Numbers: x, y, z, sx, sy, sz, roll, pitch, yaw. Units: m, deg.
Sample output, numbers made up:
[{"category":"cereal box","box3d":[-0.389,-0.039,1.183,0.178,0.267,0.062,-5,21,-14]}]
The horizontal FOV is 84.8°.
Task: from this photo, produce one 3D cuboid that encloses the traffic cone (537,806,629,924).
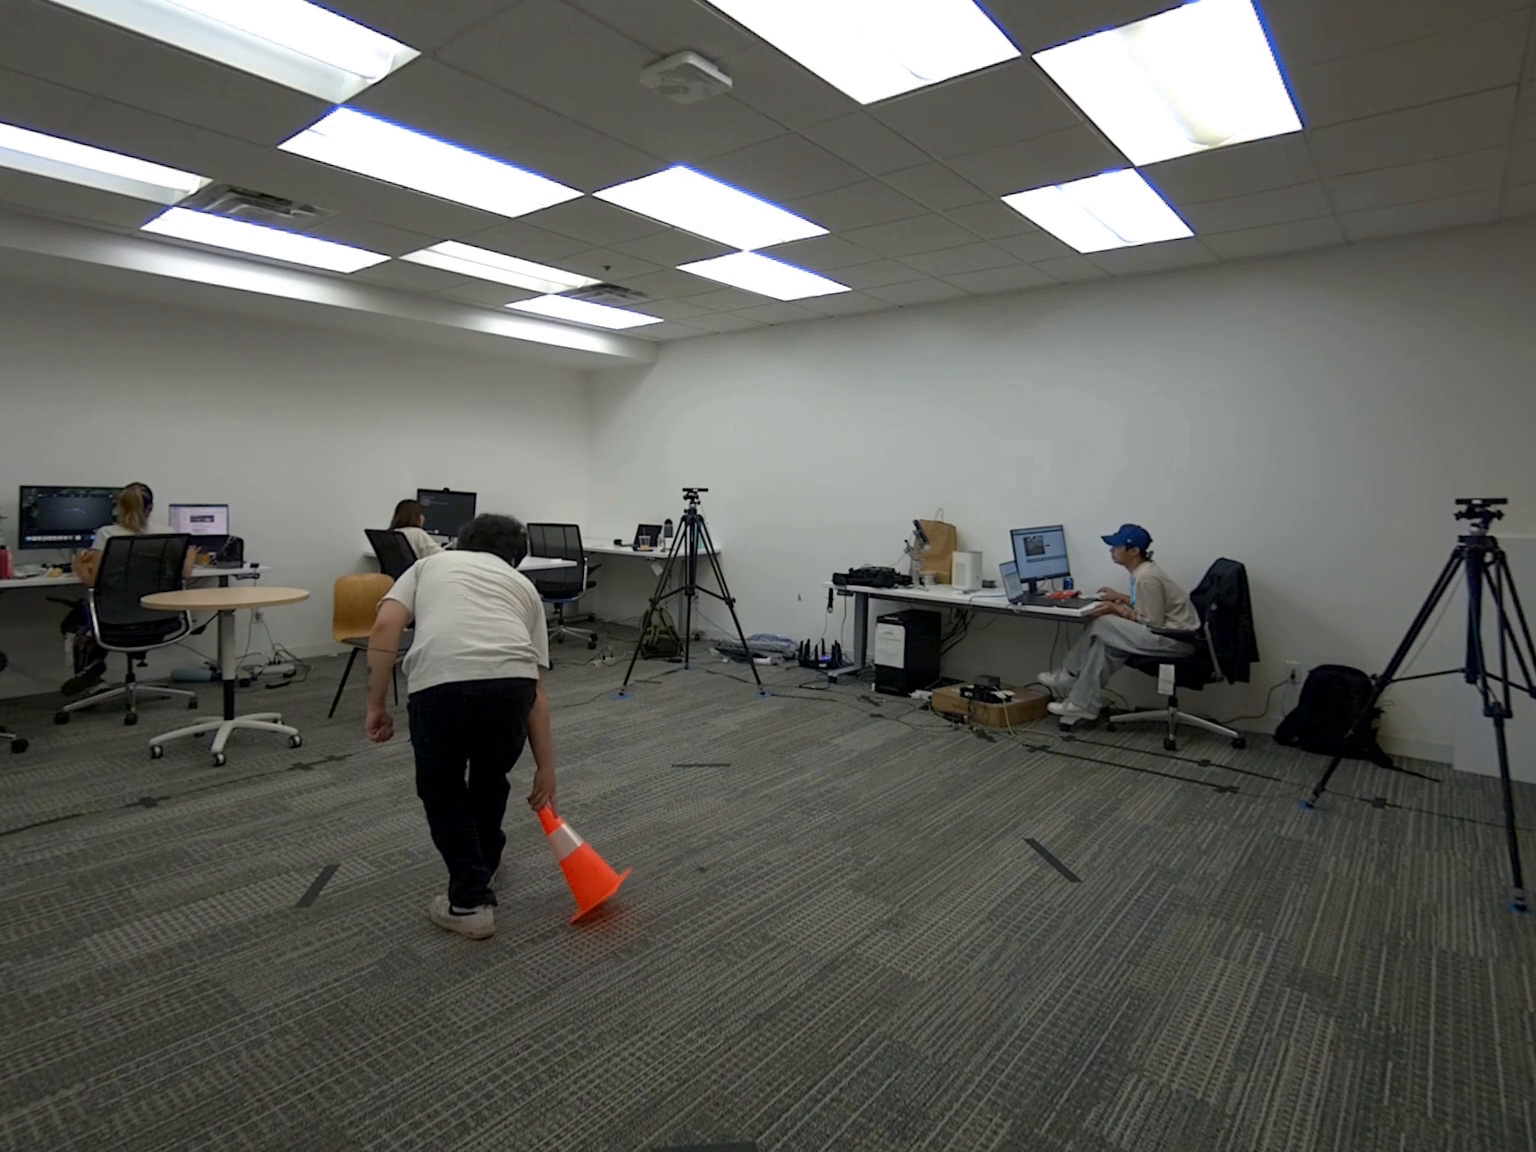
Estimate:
[{"category":"traffic cone","box3d":[-0.662,0.891,2.784,0.204,0.387,0.203,-37,-5,14]}]
